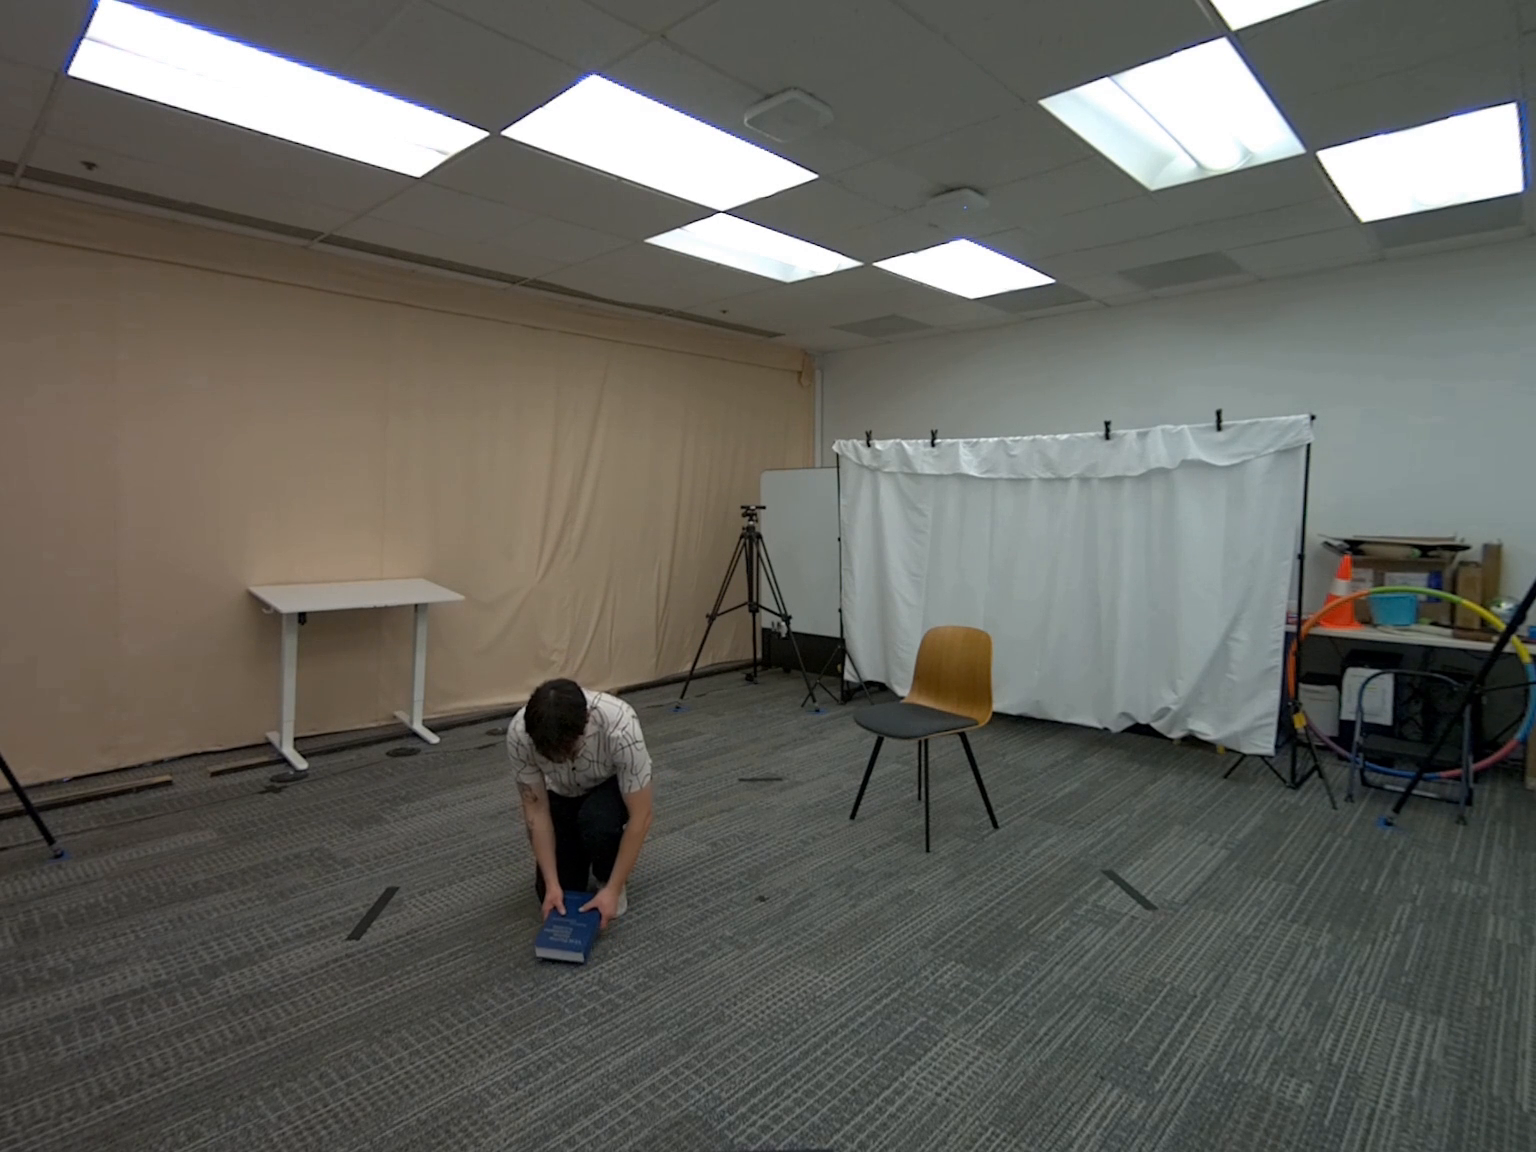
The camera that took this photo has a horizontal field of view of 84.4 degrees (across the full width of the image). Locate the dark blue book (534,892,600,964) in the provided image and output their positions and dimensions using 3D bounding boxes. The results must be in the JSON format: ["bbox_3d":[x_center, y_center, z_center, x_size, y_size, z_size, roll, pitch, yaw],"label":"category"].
[{"bbox_3d":[-0.622,1.098,2.650,0.165,0.044,0.246,0,19,7],"label":"dark blue book"}]
